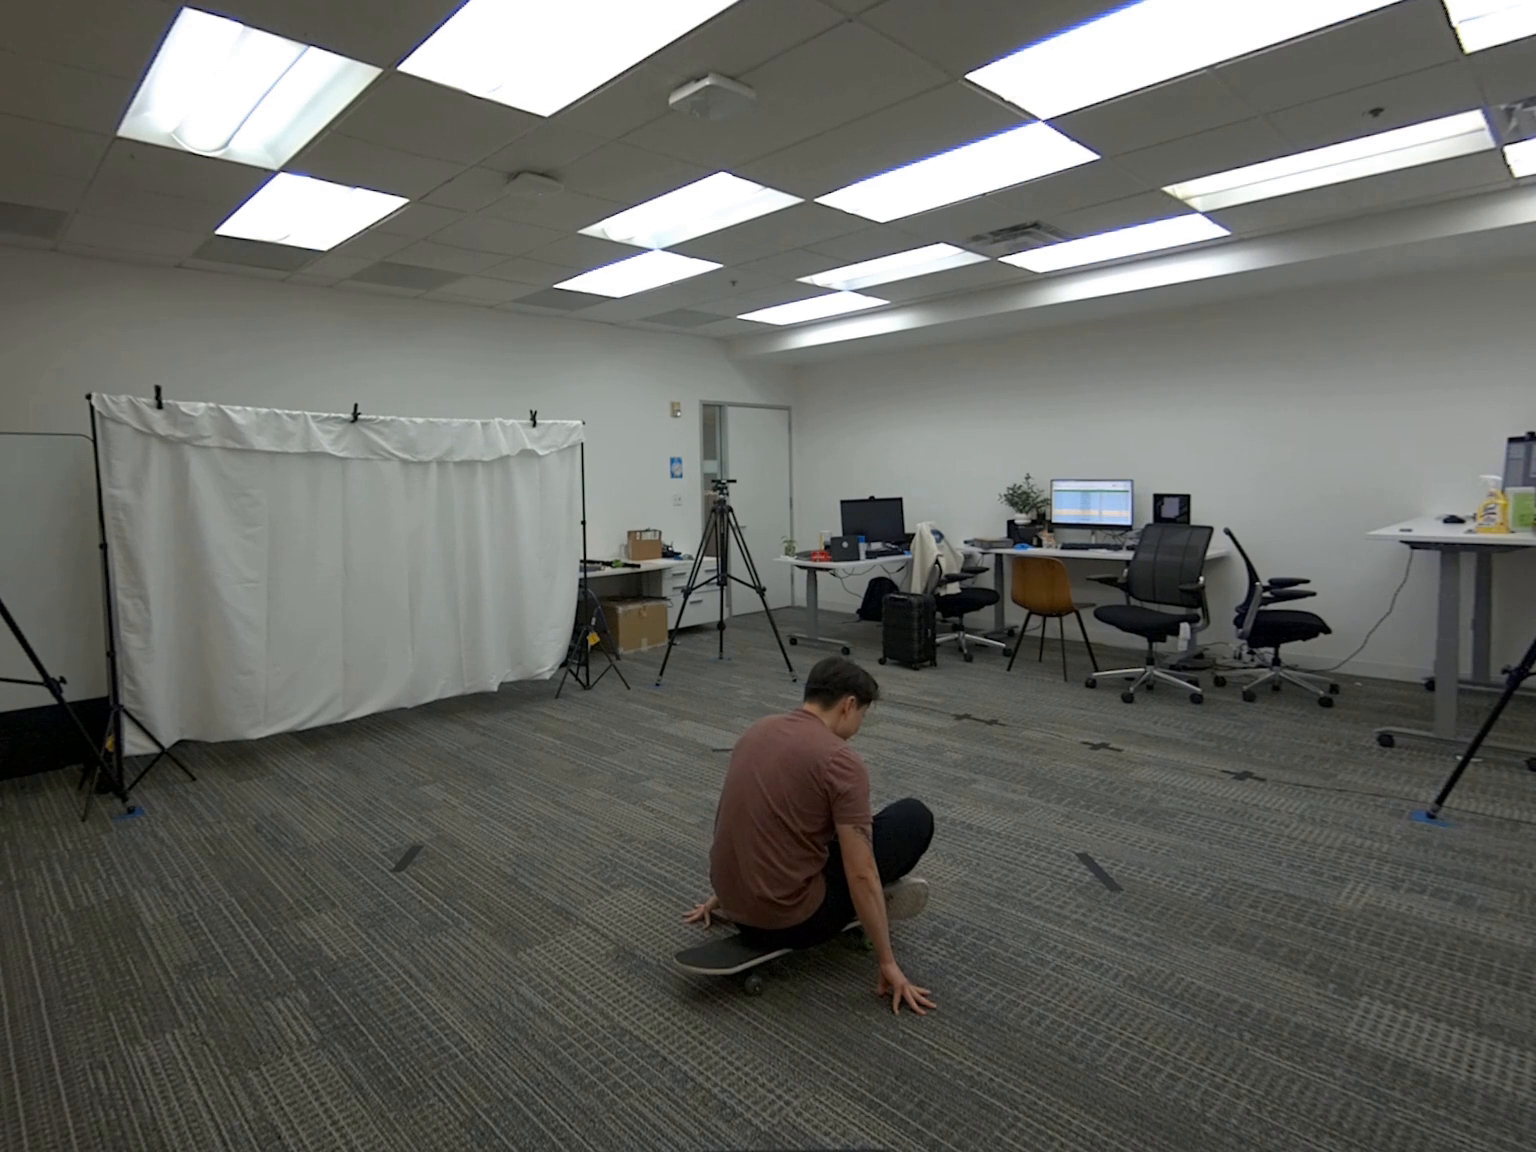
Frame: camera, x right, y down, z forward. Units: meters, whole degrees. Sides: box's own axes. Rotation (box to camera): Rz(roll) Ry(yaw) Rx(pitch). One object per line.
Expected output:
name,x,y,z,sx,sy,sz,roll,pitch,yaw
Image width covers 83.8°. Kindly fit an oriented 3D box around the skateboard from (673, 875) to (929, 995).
skateboard,0.100,1.064,2.484,0.769,0.111,0.197,-8,-2,-29
